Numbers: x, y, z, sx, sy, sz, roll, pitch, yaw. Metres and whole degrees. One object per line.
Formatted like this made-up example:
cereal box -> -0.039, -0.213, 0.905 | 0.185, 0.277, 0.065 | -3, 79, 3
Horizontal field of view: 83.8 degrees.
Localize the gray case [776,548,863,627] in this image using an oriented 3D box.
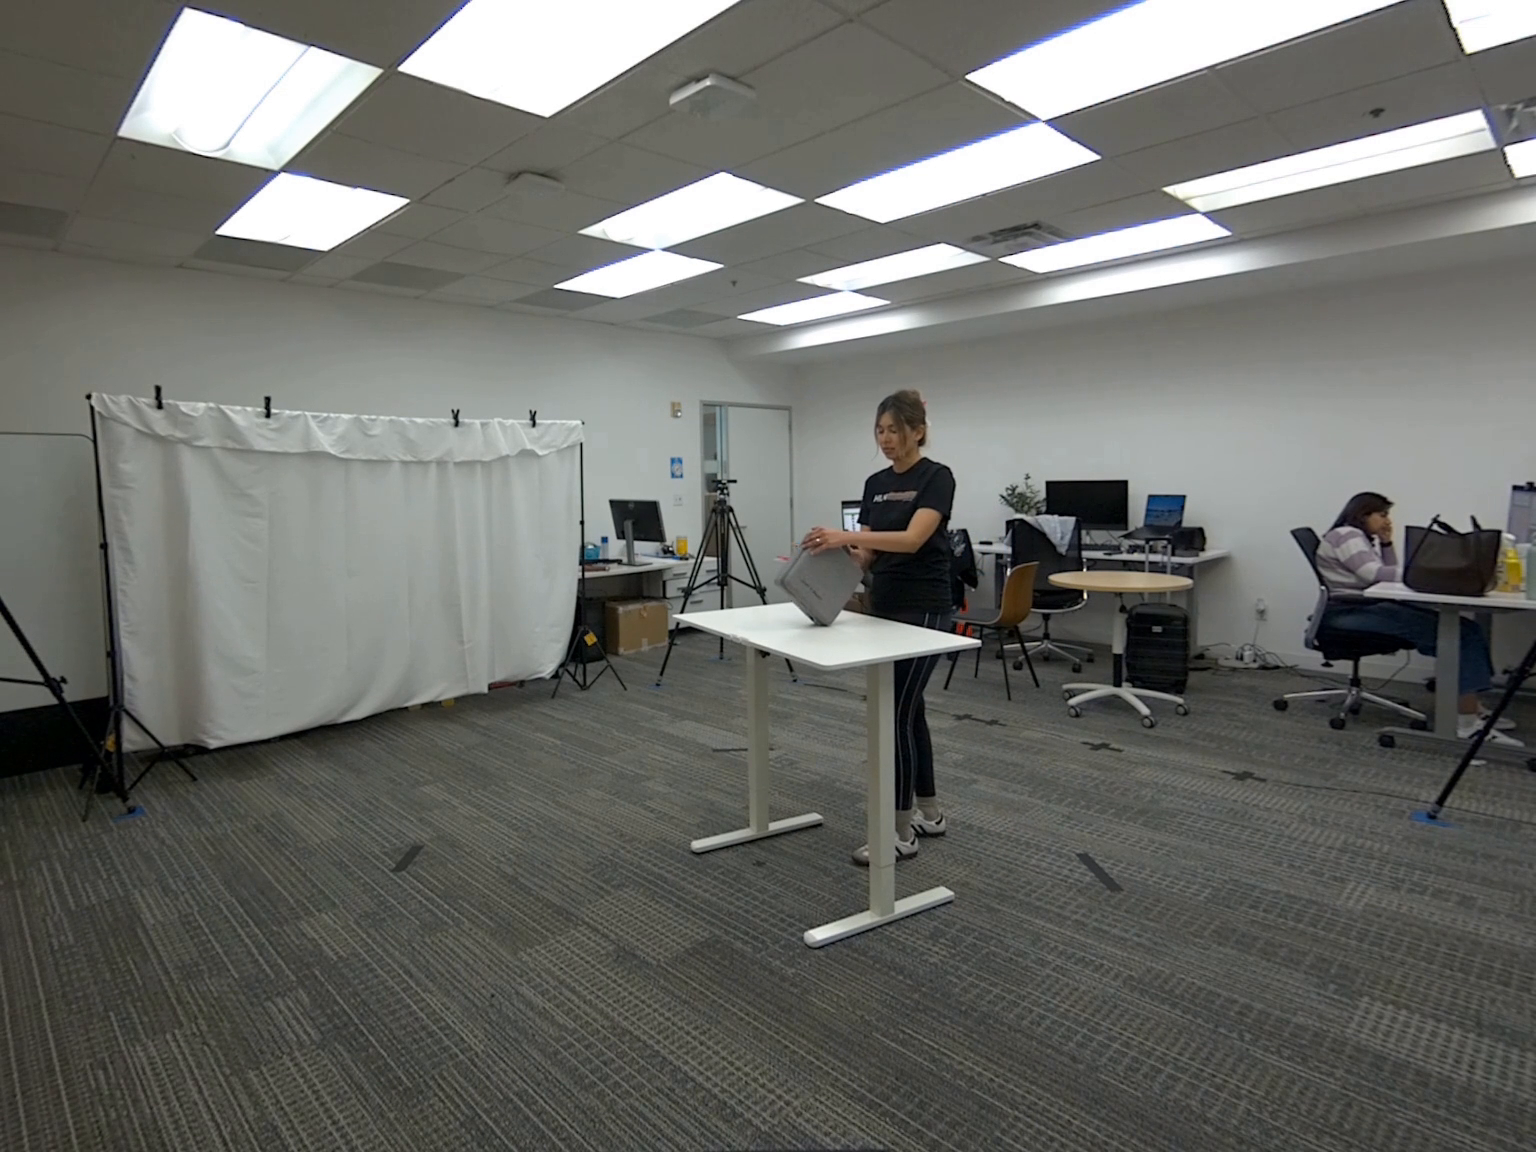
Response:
gray case -> 0.180, 0.005, 2.993 | 0.251, 0.261, 0.106 | 43, -17, -17
